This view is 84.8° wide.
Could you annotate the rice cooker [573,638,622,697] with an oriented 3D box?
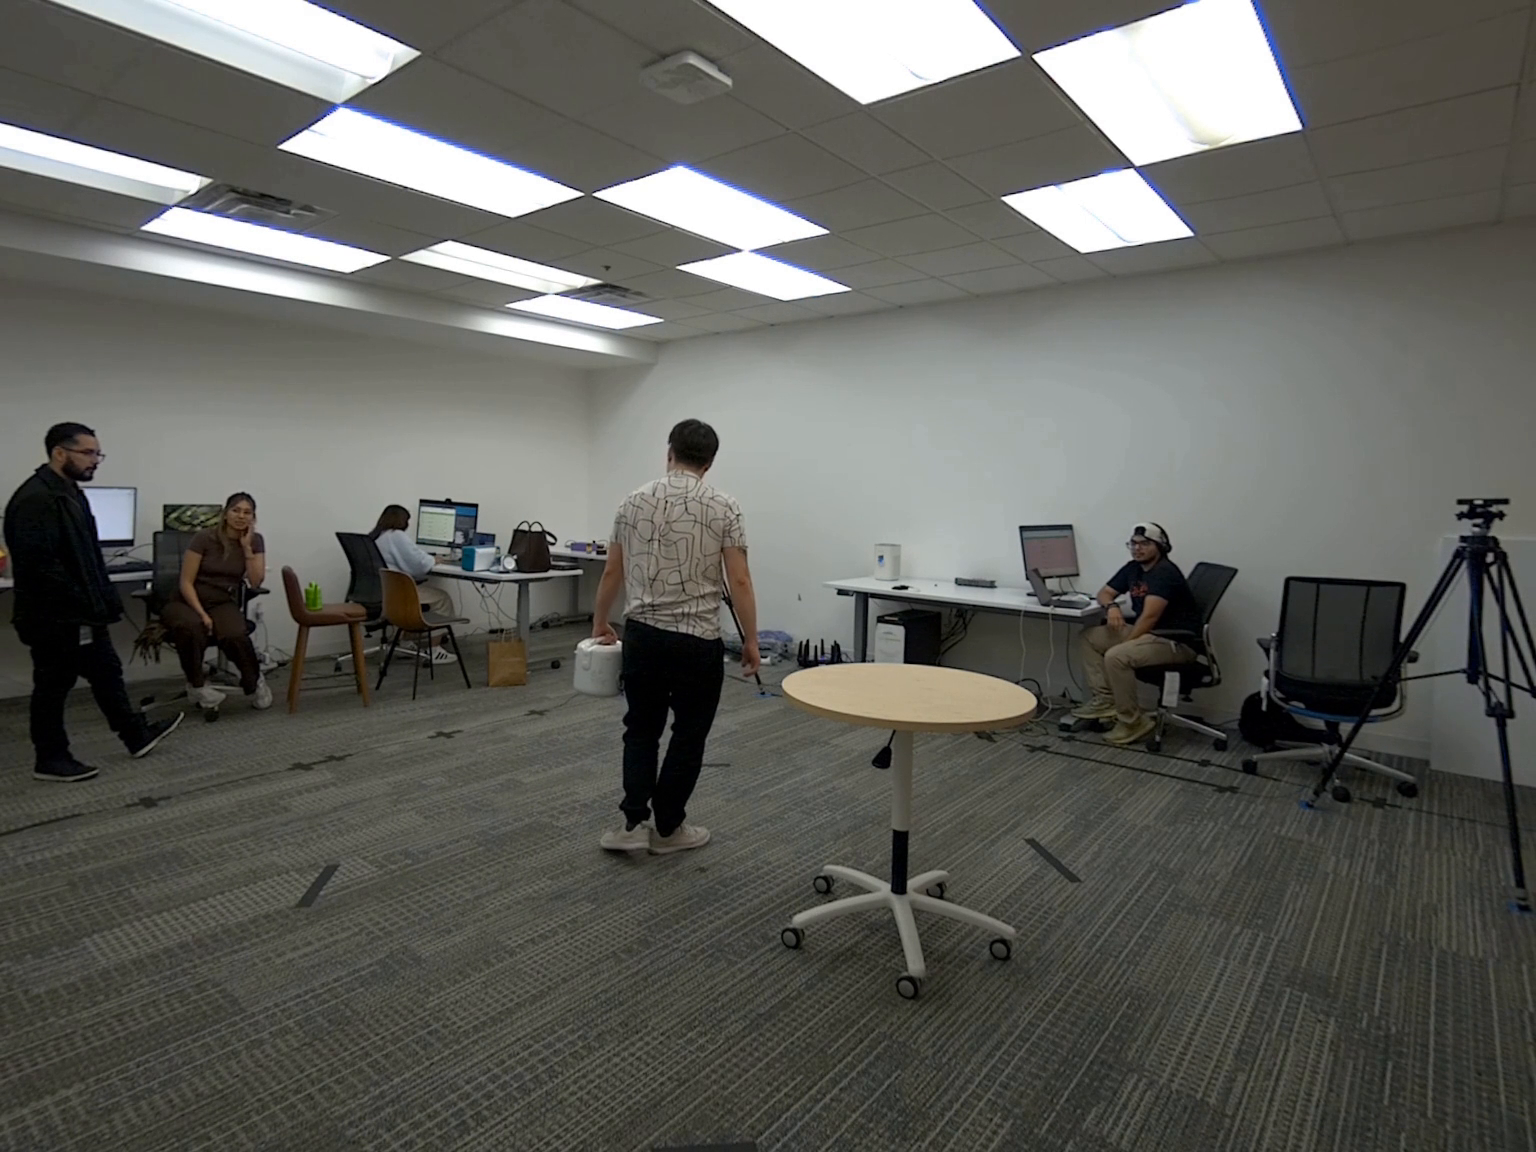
[{"bbox_3d":[-0.674,0.351,3.390,0.224,0.232,0.215,7,4,29],"label":"rice cooker"}]
